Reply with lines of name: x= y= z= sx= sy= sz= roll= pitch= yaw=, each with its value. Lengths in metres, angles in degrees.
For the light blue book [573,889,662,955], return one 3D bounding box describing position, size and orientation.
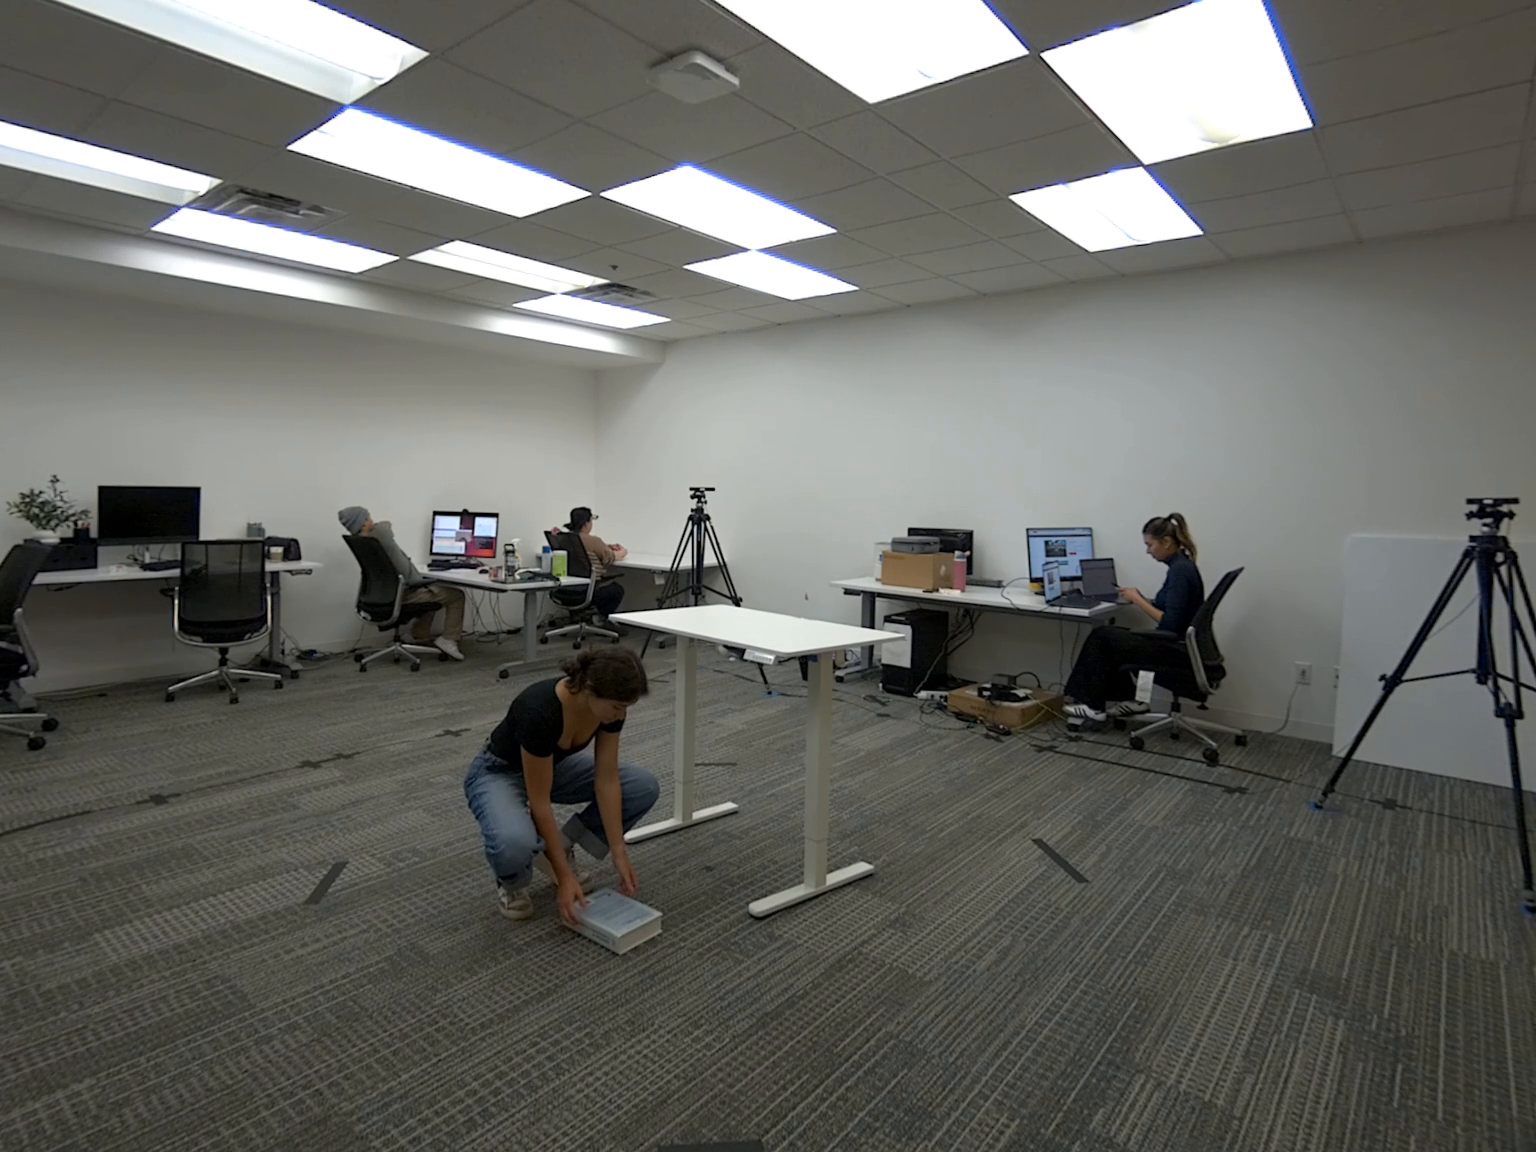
light blue book: x=-0.500 y=1.081 z=2.662 sx=0.270 sy=0.059 sz=0.186 roll=6 pitch=7 yaw=39
